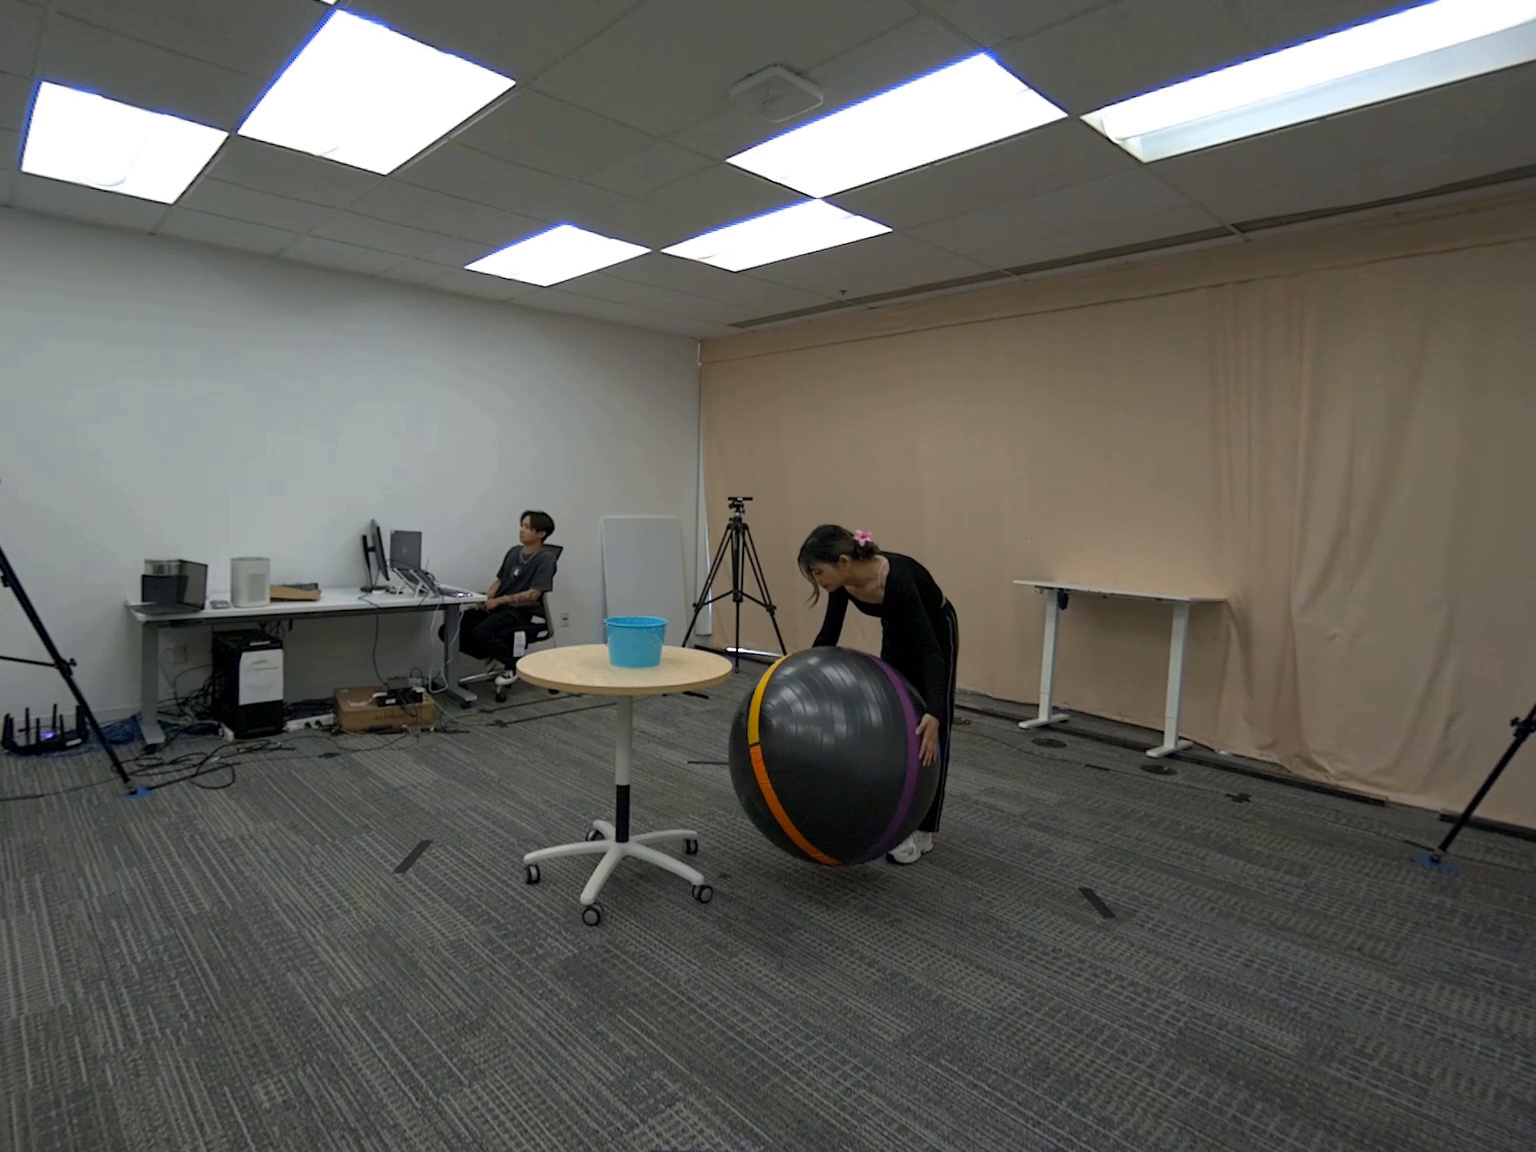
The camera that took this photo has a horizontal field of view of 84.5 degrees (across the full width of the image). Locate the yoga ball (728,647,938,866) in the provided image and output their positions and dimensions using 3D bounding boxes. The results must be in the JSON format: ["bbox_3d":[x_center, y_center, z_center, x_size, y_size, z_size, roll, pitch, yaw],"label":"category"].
[{"bbox_3d":[0.231,0.640,3.021,0.757,0.756,0.761,1,4,-1],"label":"yoga ball"}]
